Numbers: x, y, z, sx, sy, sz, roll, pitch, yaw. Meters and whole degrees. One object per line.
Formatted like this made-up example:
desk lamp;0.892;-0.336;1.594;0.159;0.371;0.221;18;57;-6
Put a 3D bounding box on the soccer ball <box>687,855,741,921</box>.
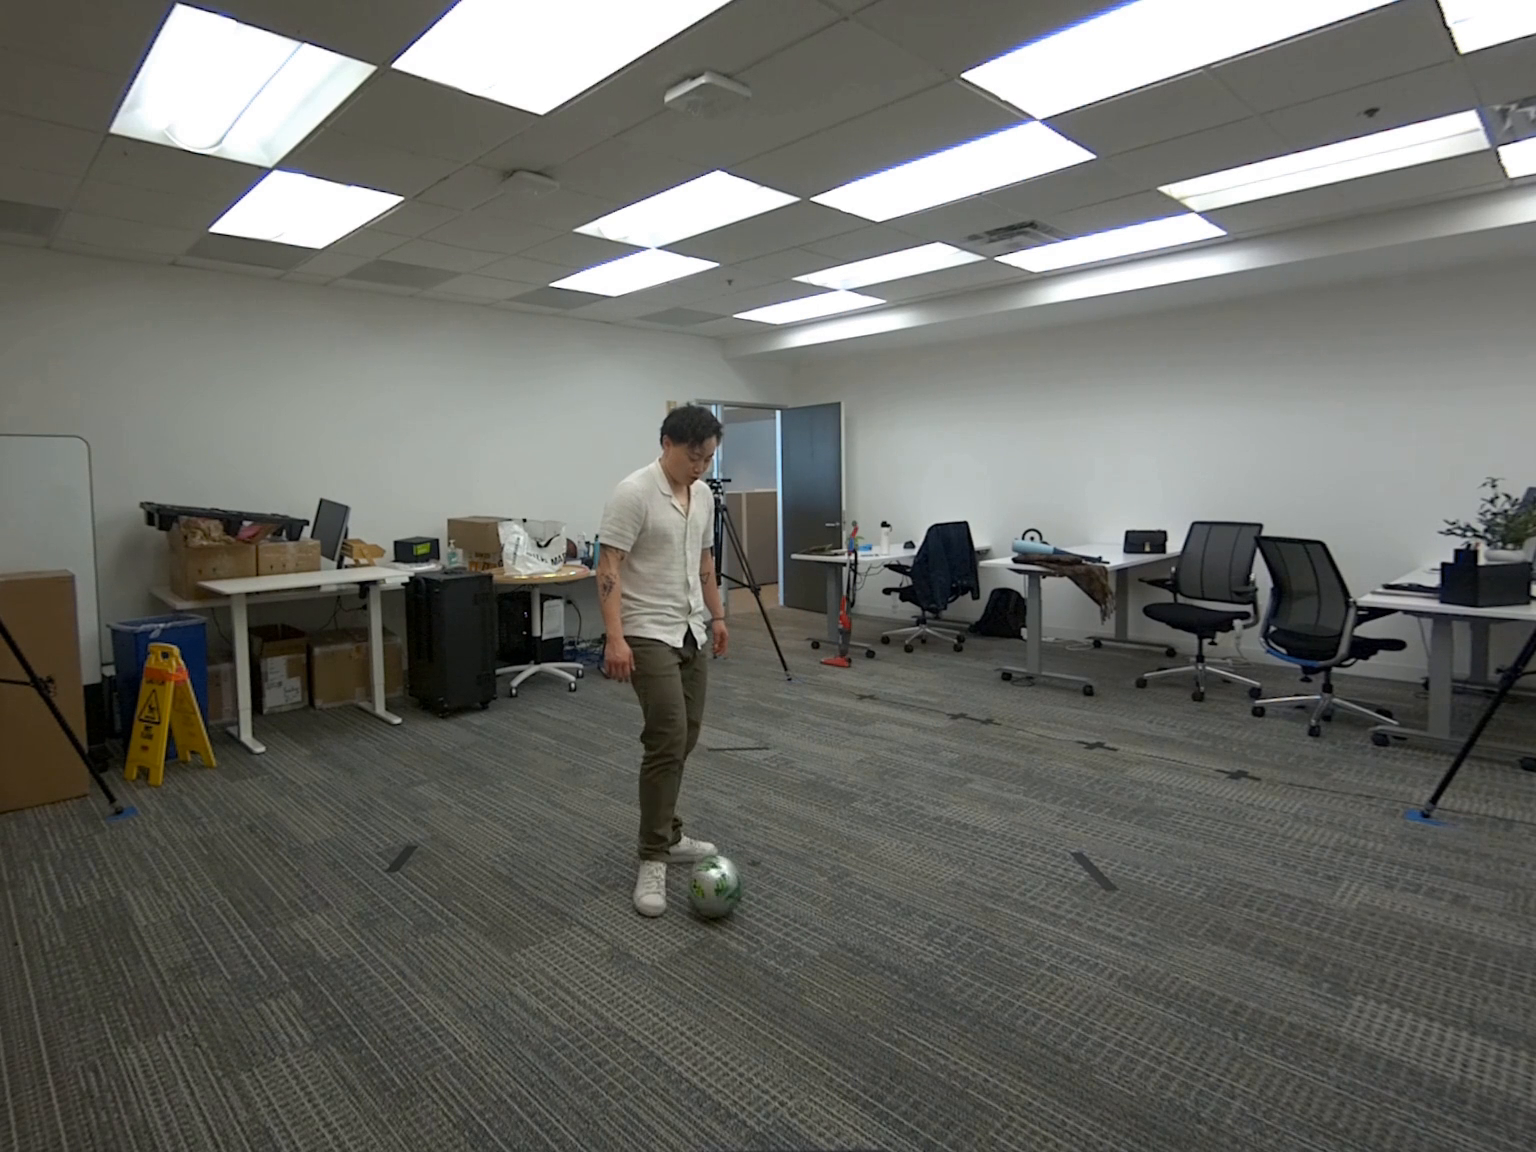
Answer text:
soccer ball;-0.169;0.997;2.743;0.187;0.187;0.188;-1;5;-2
